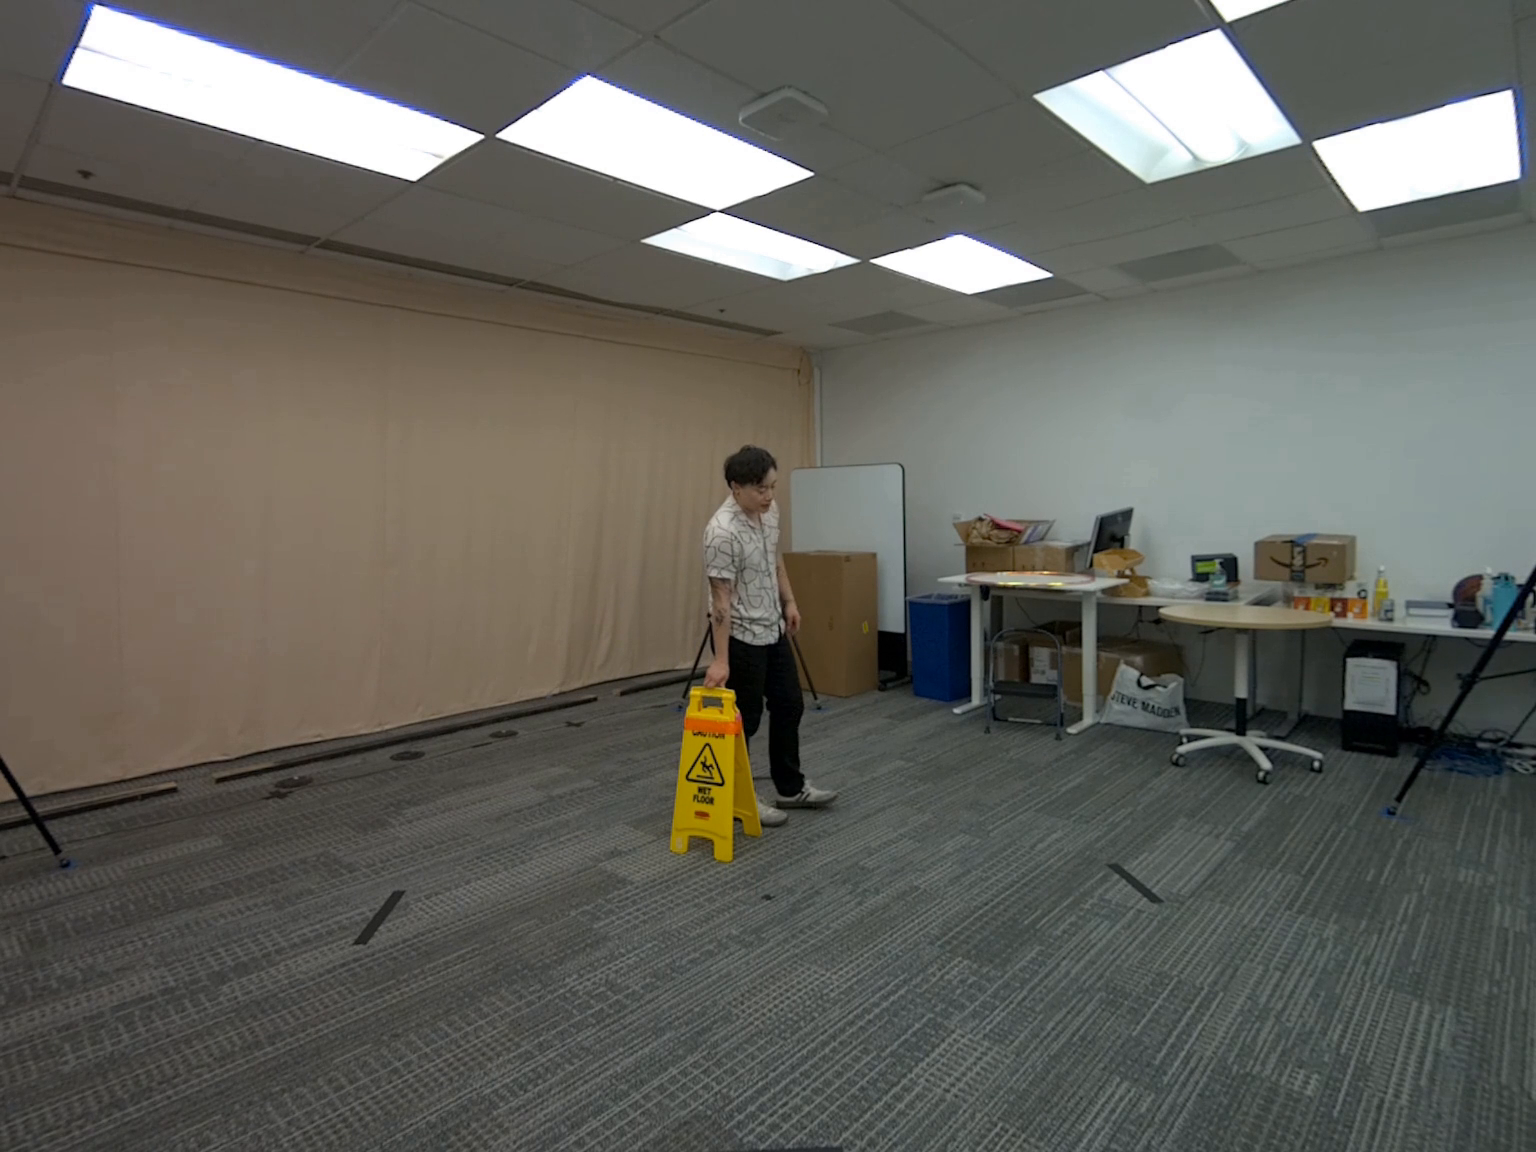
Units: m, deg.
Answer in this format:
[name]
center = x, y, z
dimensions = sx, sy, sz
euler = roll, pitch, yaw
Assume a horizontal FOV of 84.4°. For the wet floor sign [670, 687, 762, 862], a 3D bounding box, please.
[wet floor sign]
center = -0.220, 0.780, 3.454
dimensions = 0.289, 0.644, 0.283
euler = -1, 4, 26
